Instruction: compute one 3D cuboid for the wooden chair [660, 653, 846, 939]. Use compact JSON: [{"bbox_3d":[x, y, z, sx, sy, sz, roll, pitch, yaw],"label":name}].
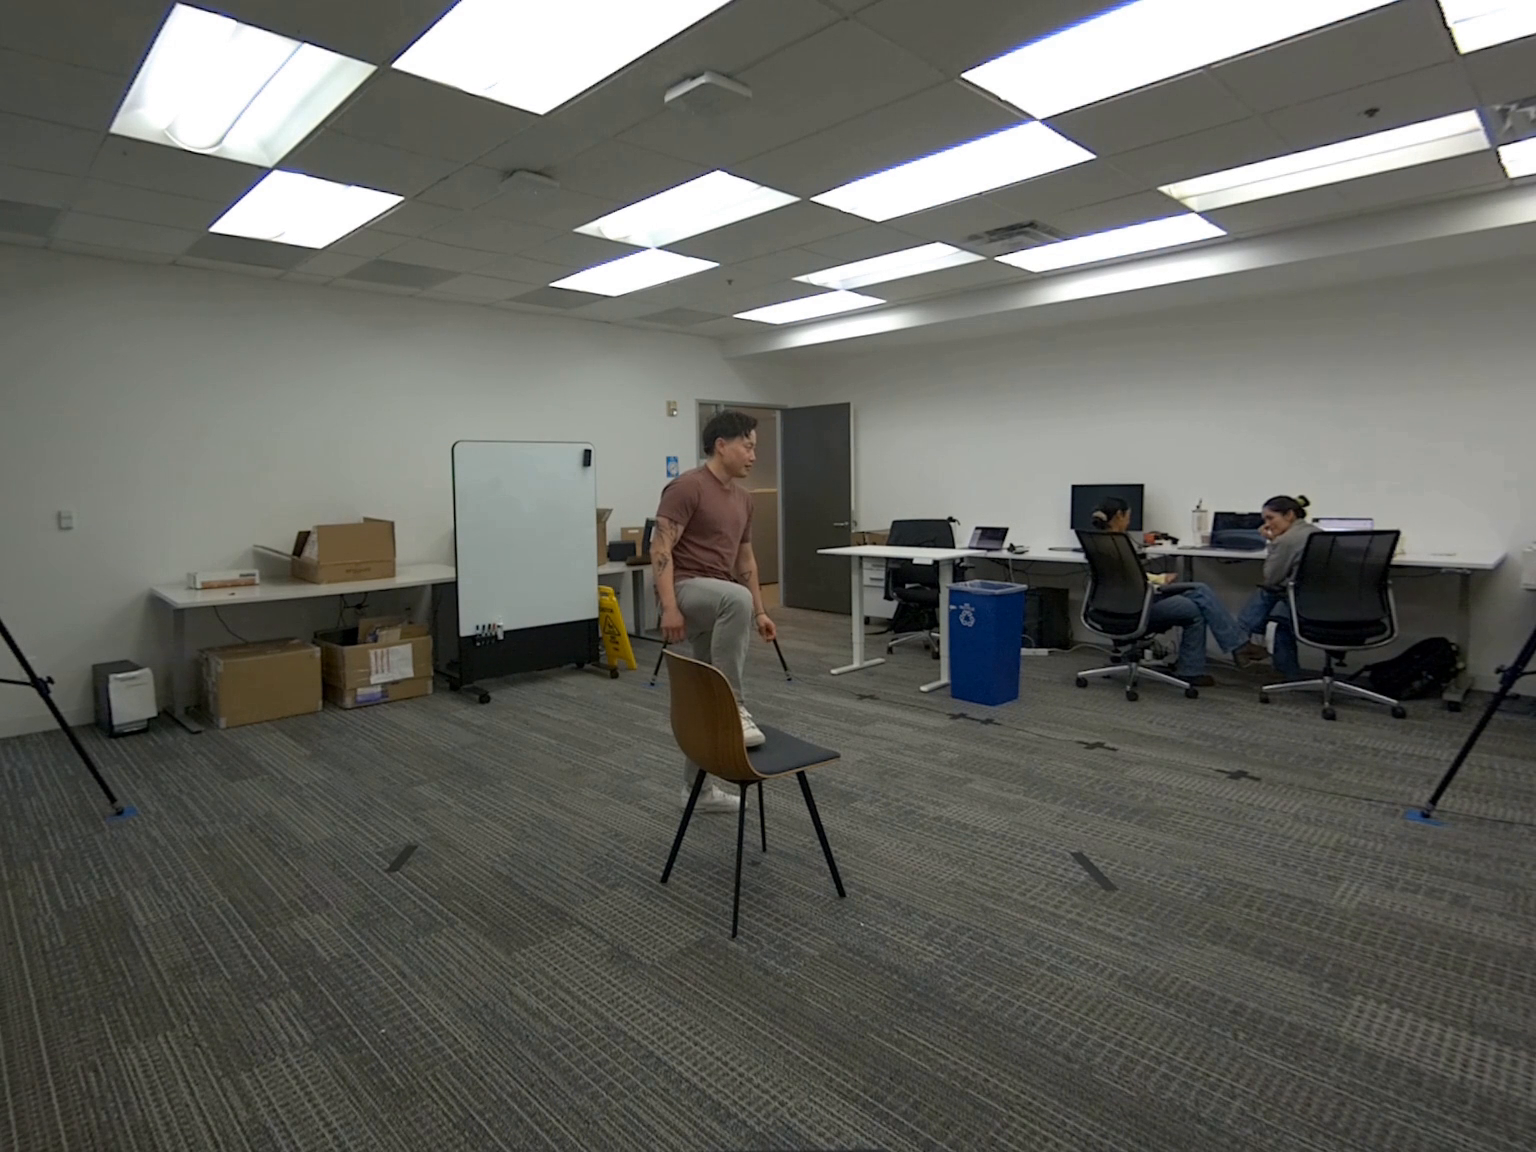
[{"bbox_3d":[-0.054,0.645,2.876,0.511,0.872,0.492,-9,8,-35],"label":"wooden chair"}]
